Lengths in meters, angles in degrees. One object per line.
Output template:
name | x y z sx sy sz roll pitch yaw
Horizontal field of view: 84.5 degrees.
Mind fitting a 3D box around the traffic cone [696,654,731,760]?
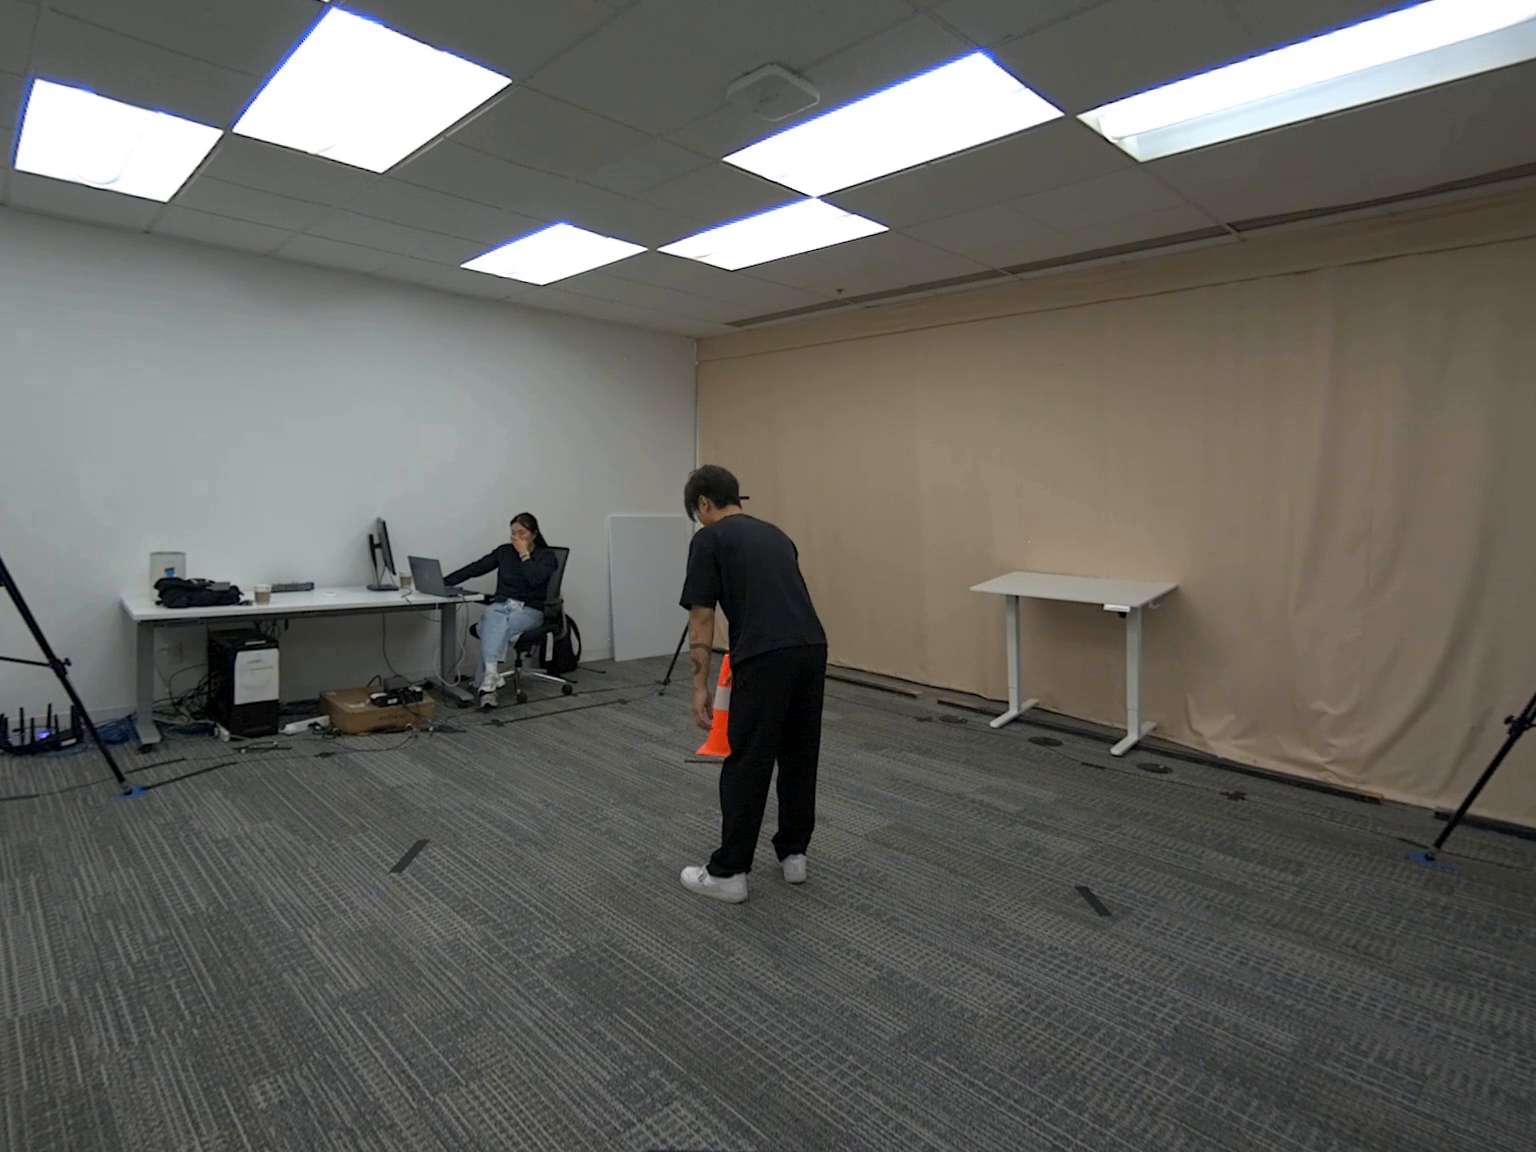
traffic cone | -0.185 0.511 3.393 0.209 0.383 0.199 5 3 29
